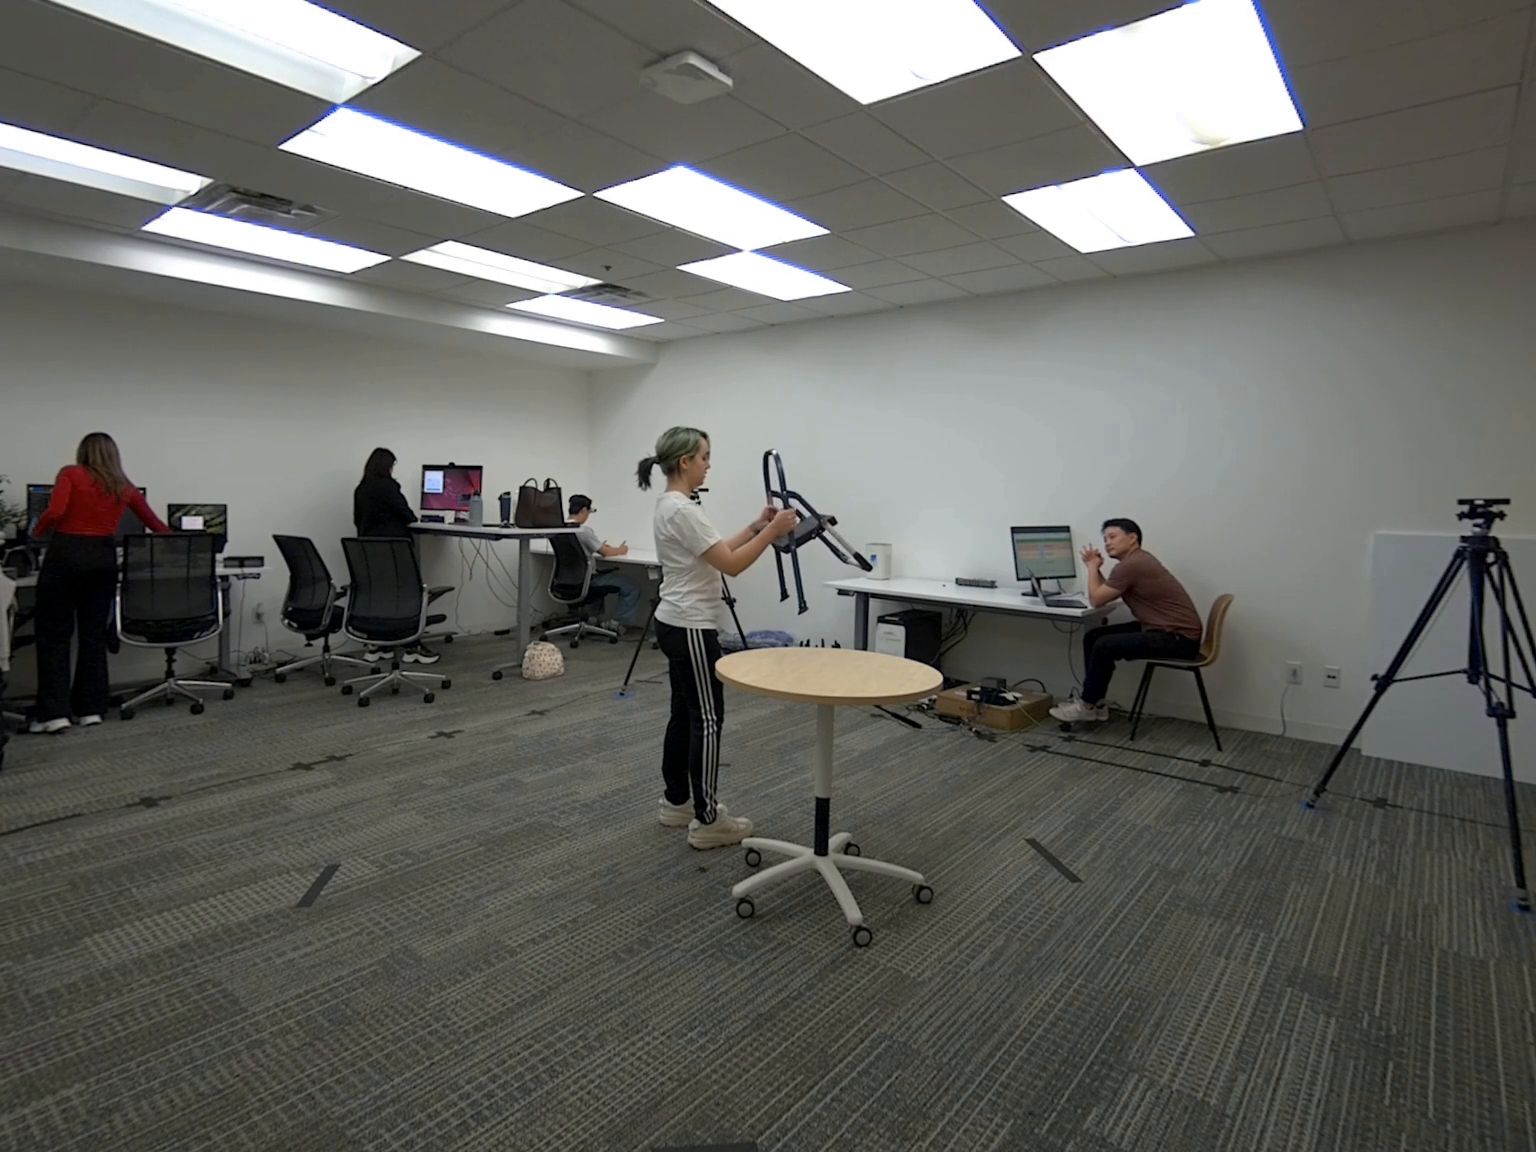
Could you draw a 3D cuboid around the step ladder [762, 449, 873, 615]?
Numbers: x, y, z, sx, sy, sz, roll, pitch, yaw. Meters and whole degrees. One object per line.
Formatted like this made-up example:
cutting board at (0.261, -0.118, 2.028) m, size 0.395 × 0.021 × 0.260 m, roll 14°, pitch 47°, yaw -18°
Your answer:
step ladder at (0.087, -0.214, 3.510) m, size 0.348 × 0.600 × 0.436 m, roll -30°, pitch 8°, yaw -5°
